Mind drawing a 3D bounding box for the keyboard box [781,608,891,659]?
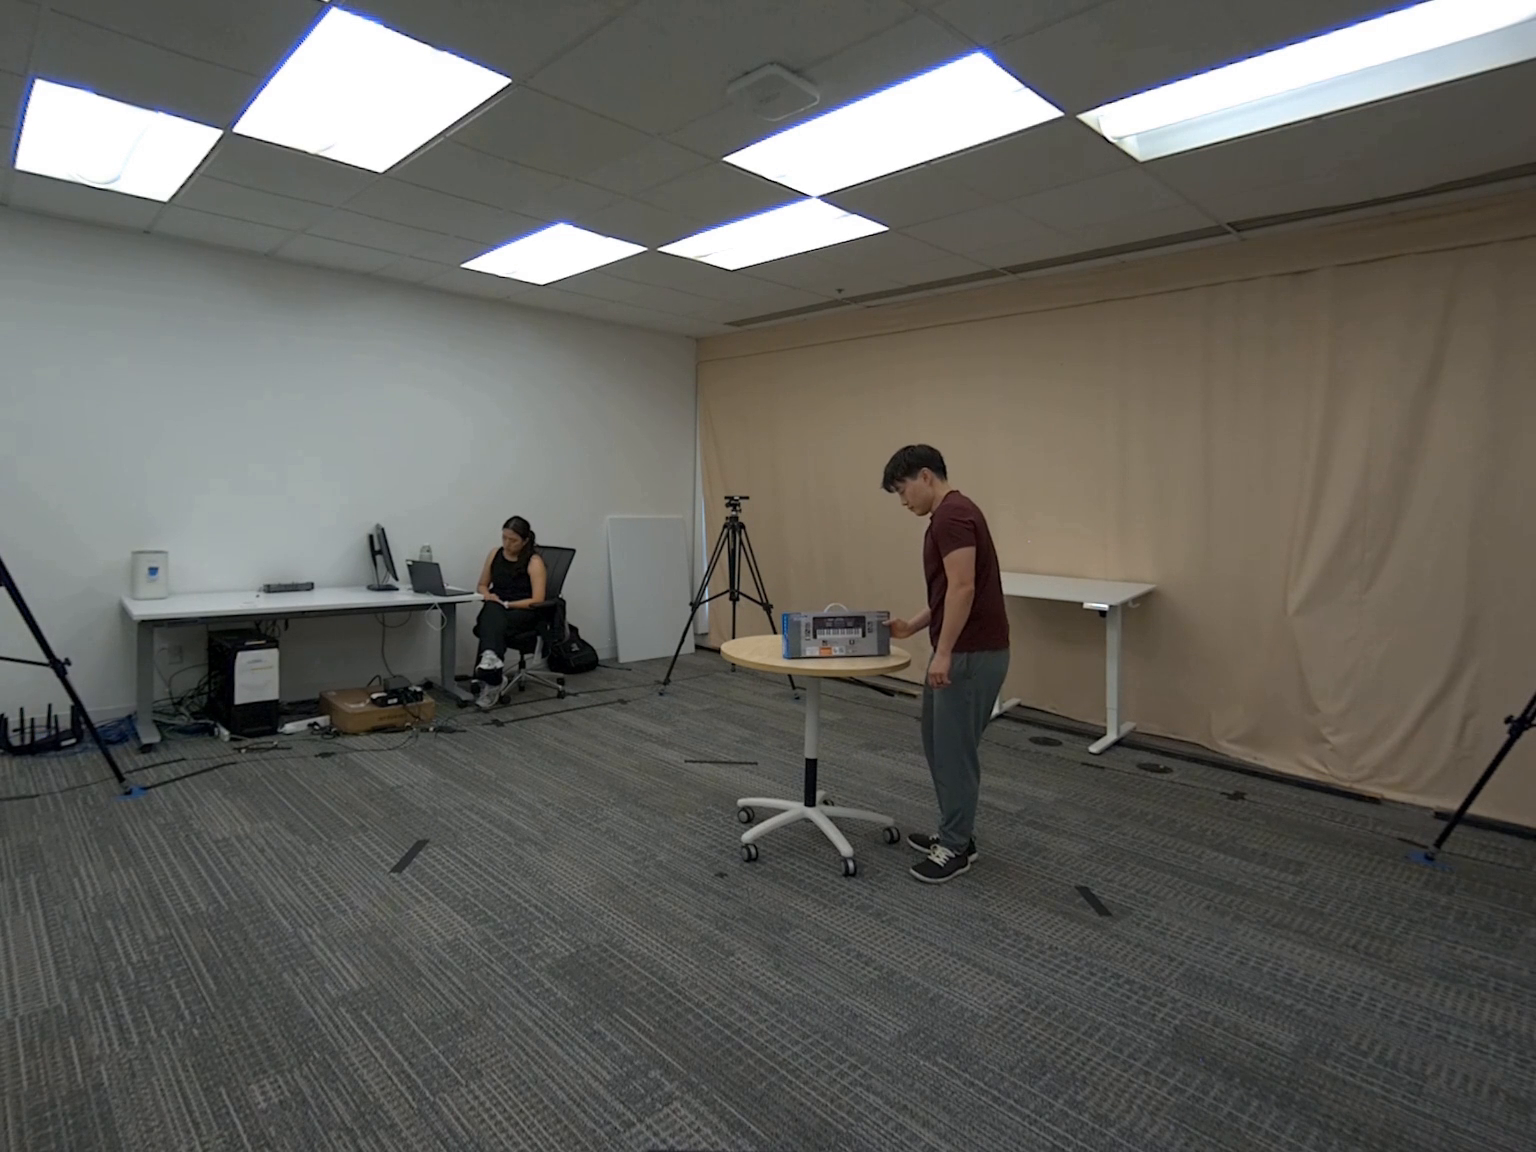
[{"bbox_3d":[0.255,0.229,3.290,0.431,0.176,0.060,1,-5,-18],"label":"keyboard box"}]
